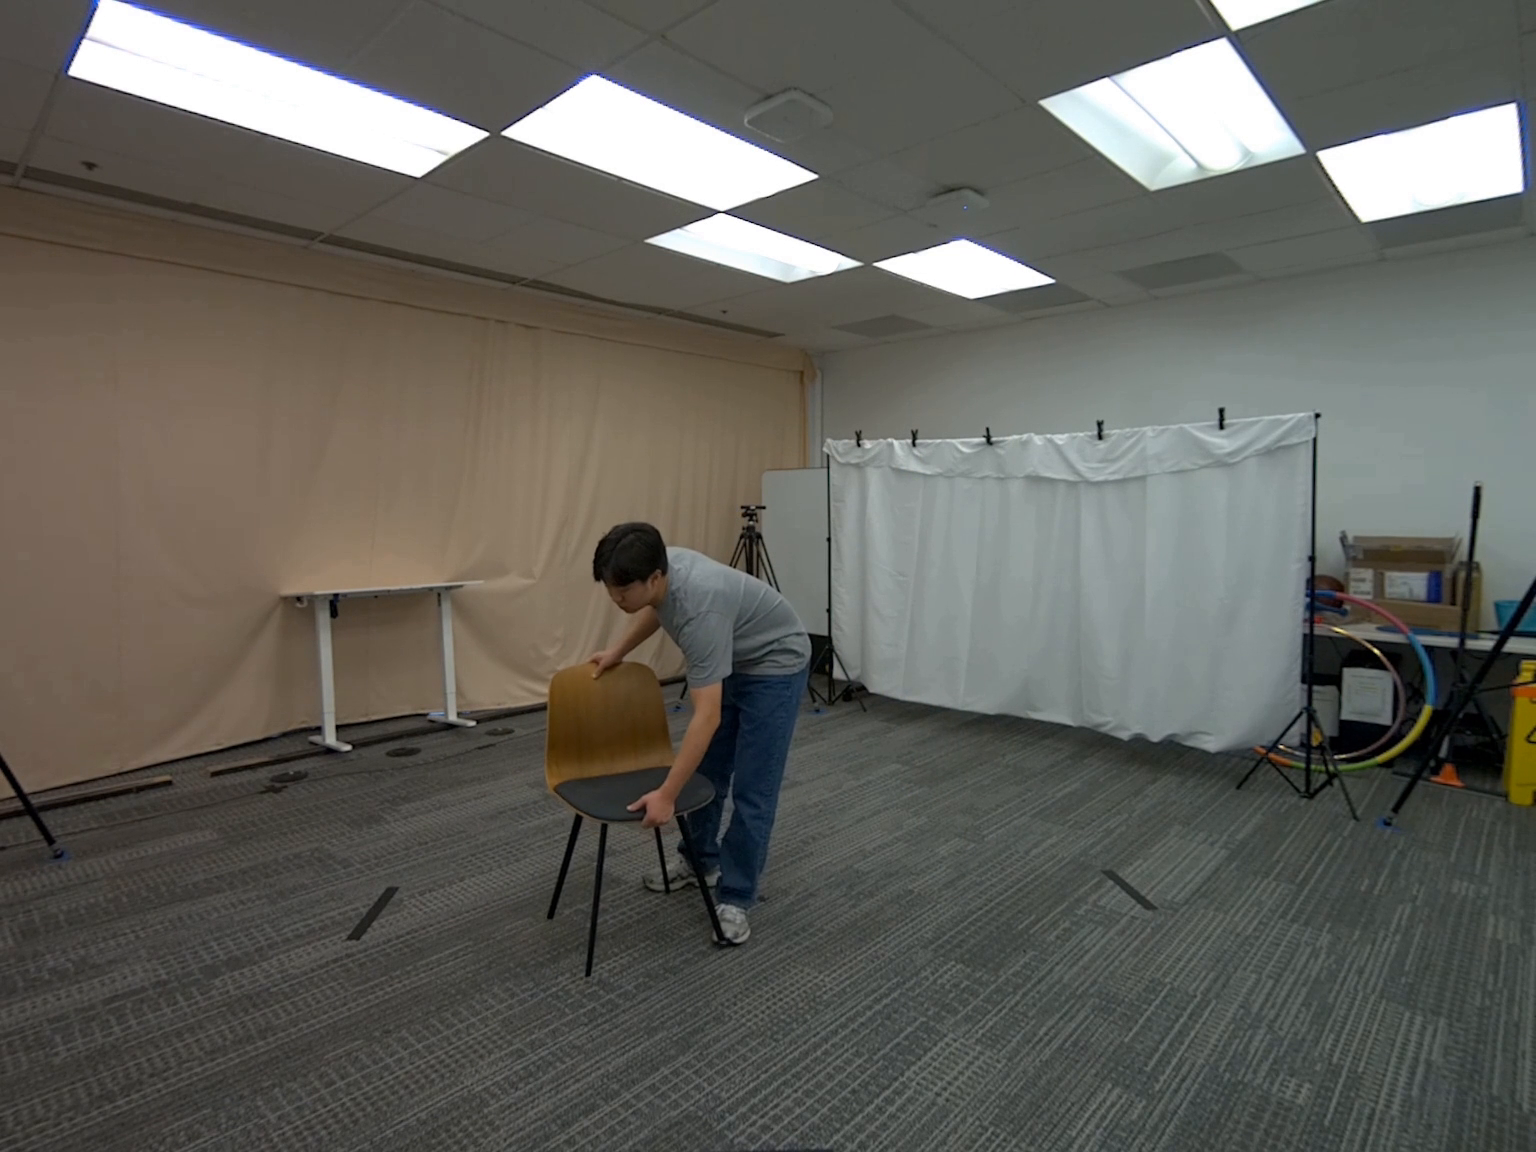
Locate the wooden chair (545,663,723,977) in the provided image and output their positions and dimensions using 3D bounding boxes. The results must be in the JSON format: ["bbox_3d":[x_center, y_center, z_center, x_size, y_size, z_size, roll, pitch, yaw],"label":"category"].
[{"bbox_3d":[-0.456,0.727,2.733,0.466,0.880,0.535,-1,-4,-27],"label":"wooden chair"}]
